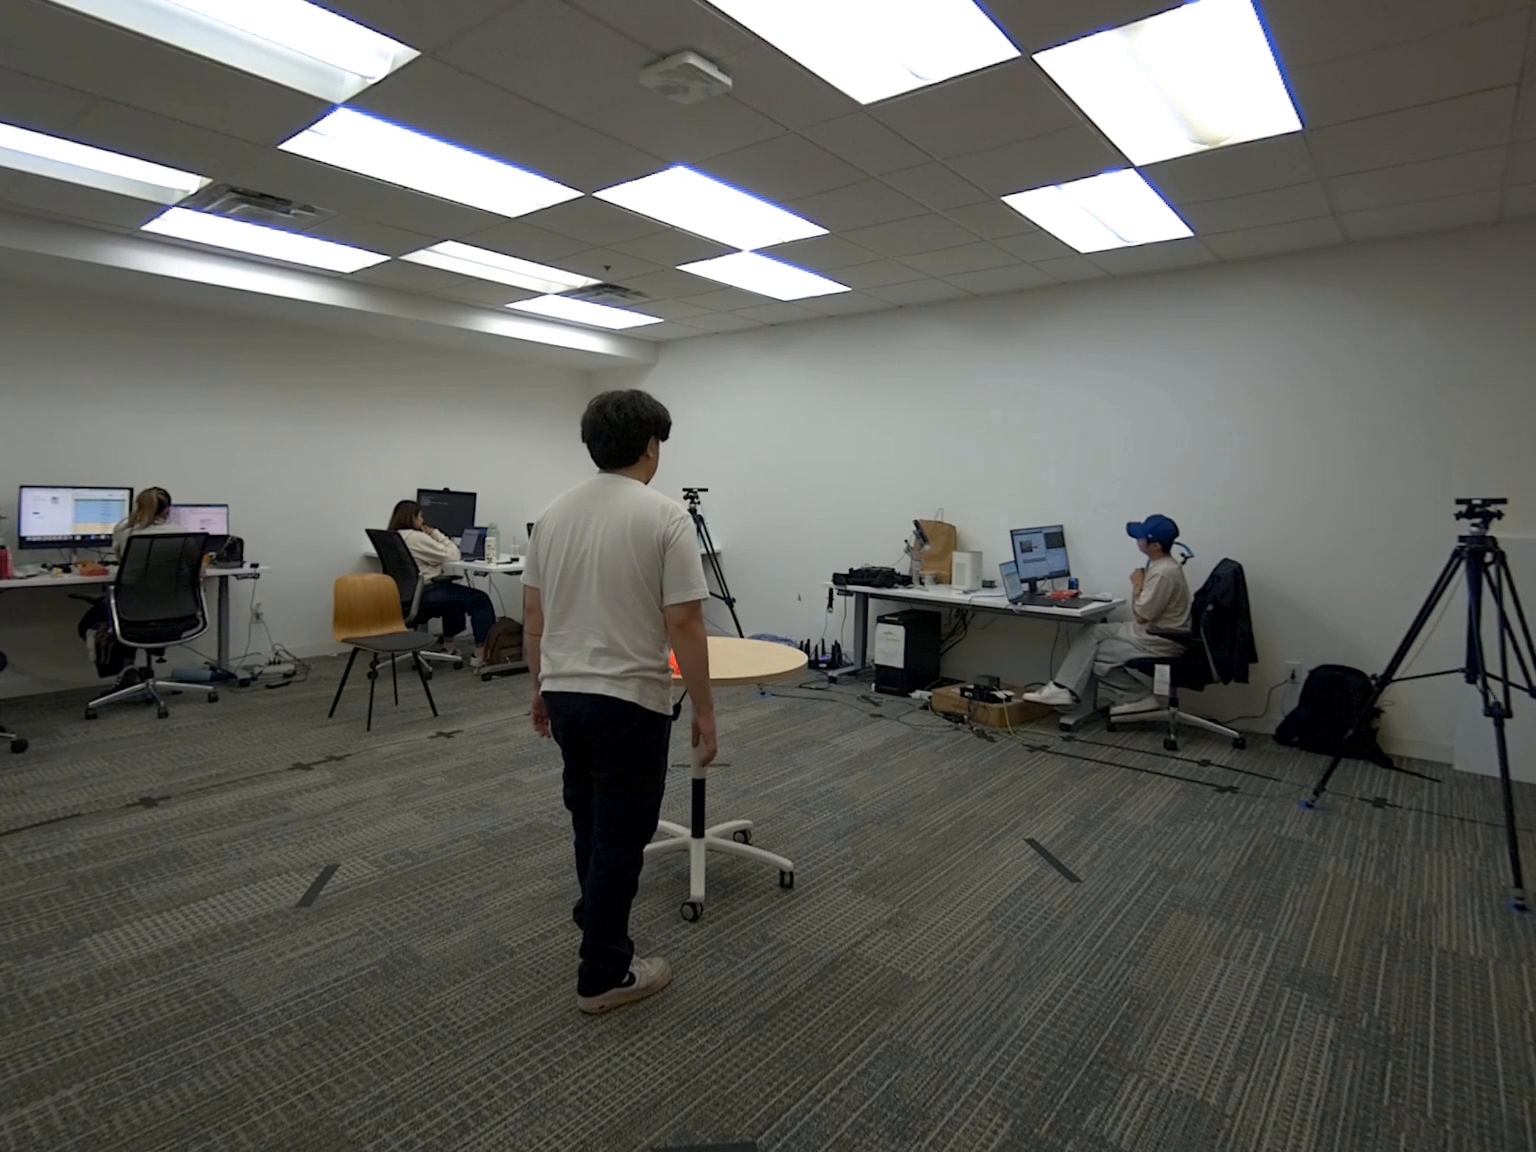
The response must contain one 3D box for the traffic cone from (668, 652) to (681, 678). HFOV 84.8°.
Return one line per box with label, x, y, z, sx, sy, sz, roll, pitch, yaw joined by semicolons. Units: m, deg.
traffic cone;-0.369;0.239;2.866;0.199;0.201;0.398;5;15;-29
